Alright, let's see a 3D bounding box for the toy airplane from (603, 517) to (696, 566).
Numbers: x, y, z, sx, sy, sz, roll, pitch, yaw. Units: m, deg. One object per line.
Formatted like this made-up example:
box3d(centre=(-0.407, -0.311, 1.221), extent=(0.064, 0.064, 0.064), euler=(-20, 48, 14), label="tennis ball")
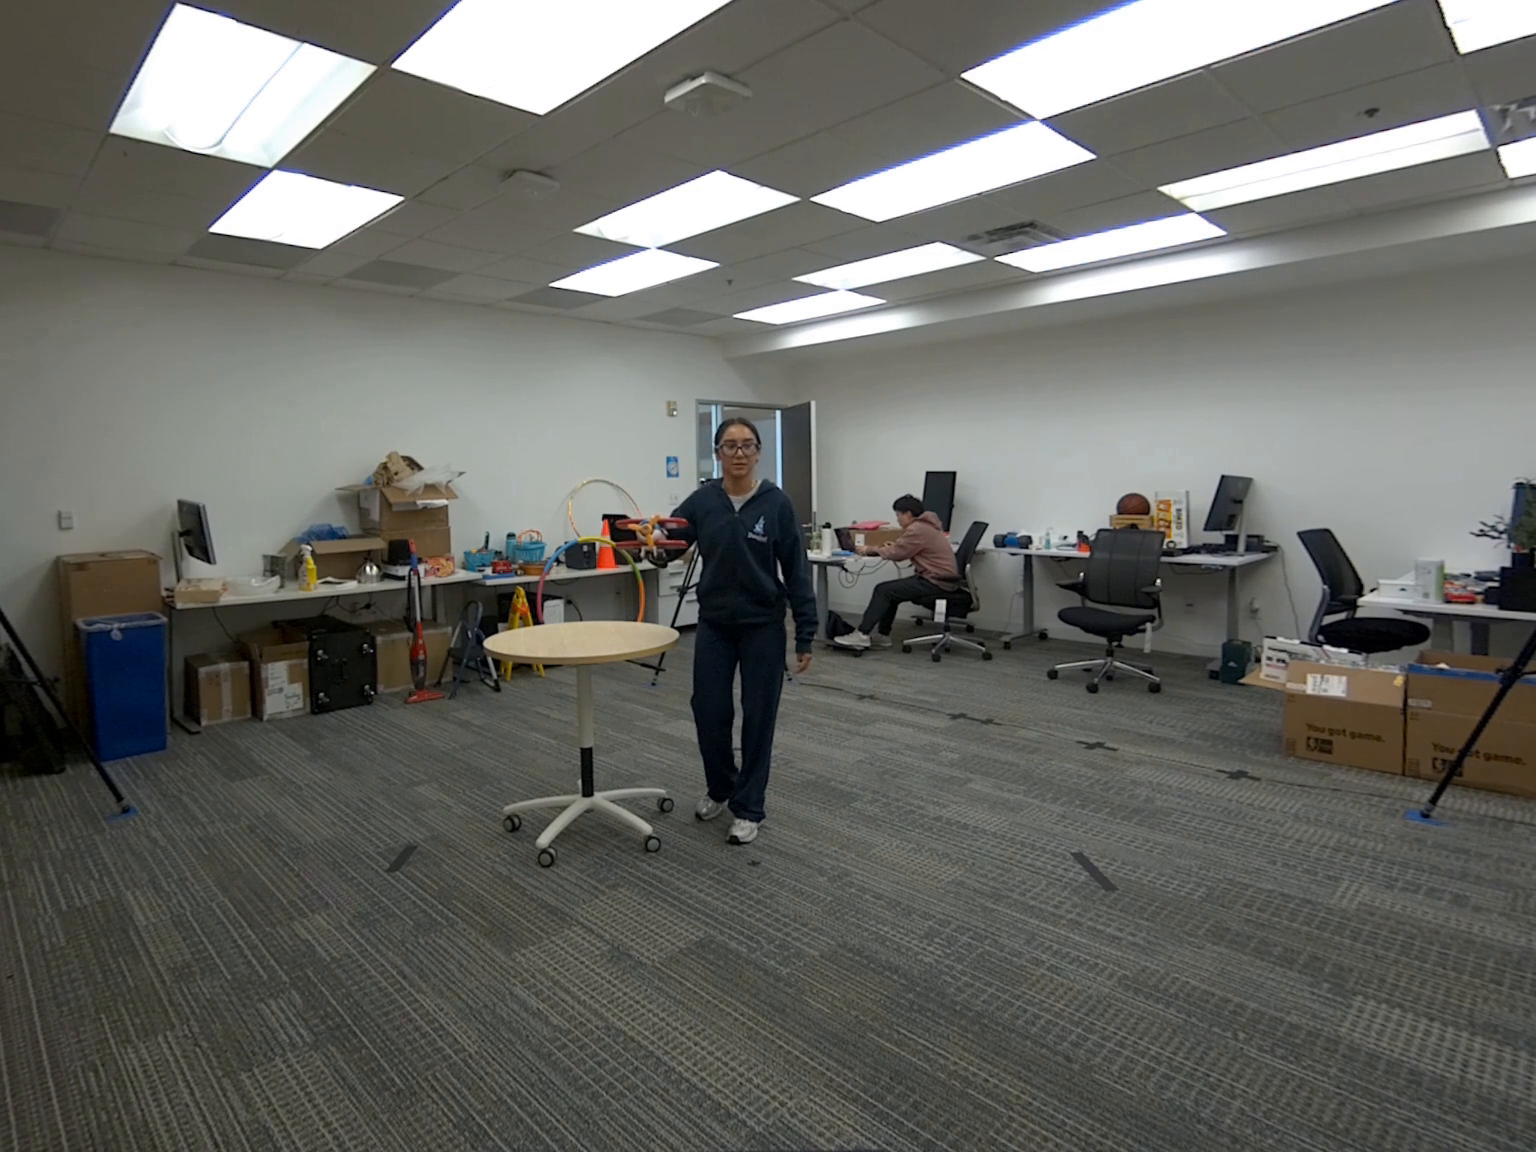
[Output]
box3d(centre=(-0.434, -0.128, 3.053), extent=(0.247, 0.156, 0.264), euler=(-5, 3, -20), label="toy airplane")
